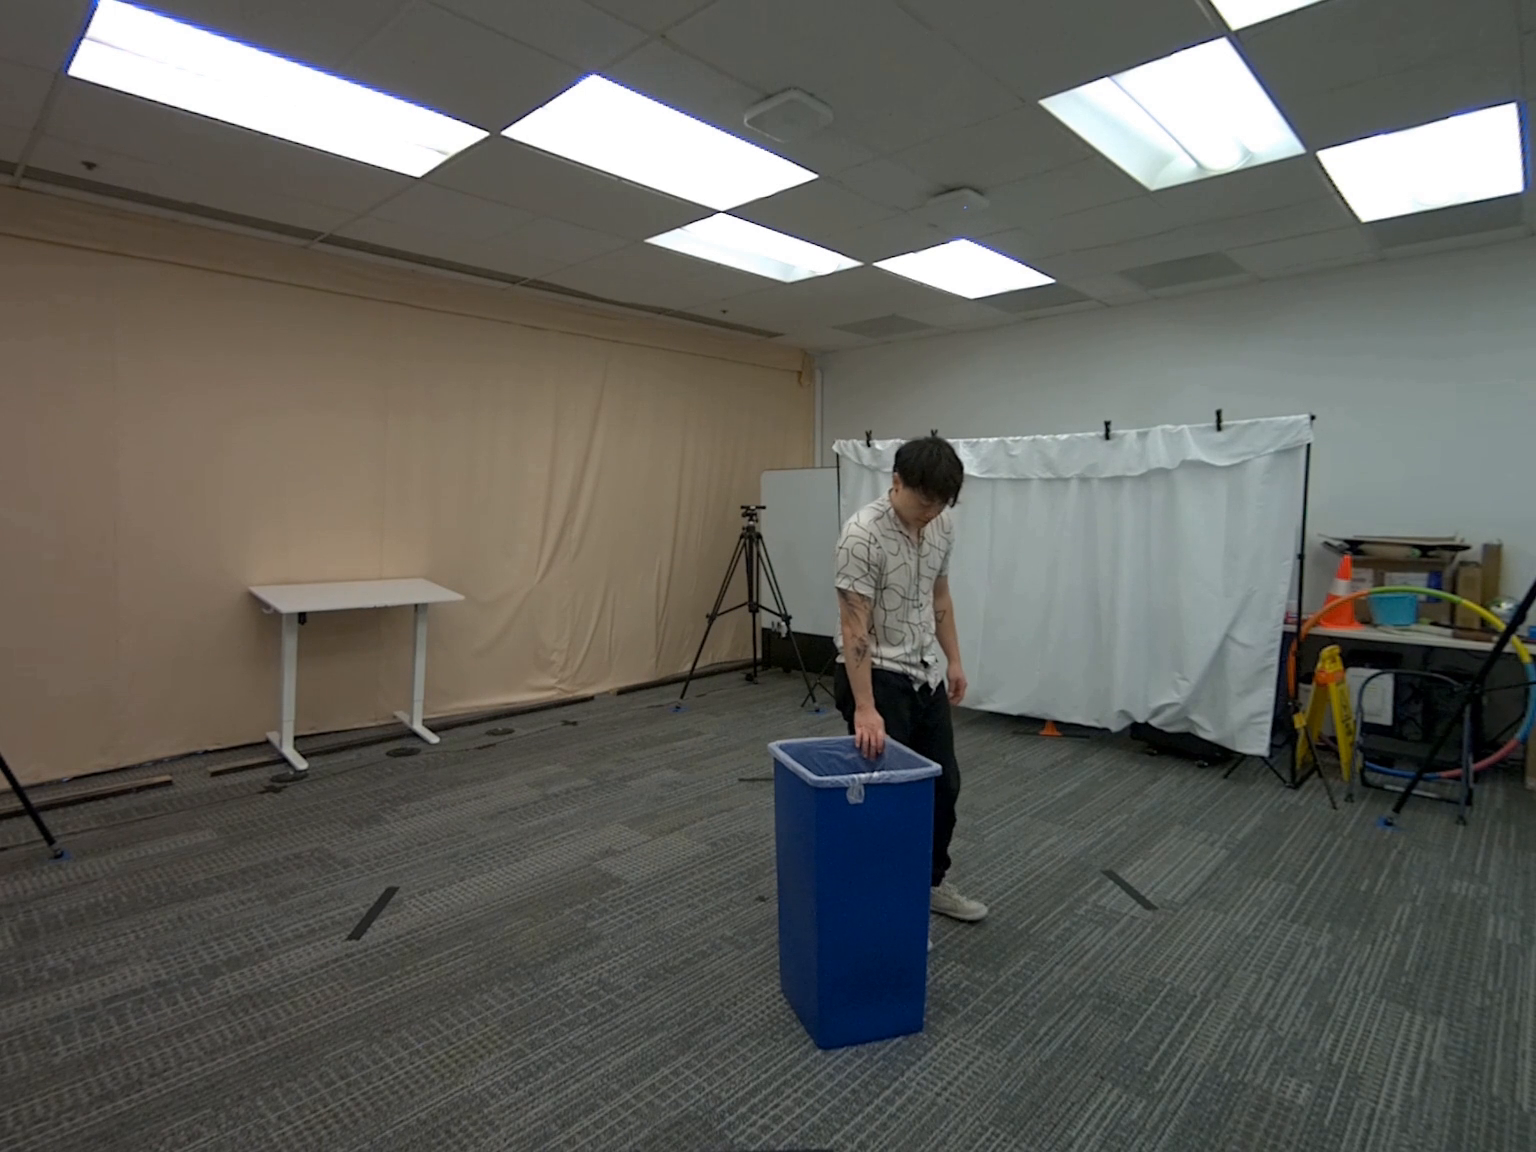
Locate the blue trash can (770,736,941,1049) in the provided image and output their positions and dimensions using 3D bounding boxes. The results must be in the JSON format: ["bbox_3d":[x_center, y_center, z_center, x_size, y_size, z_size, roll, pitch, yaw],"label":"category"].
[{"bbox_3d":[0.222,0.843,2.318,0.371,0.712,0.382,0,3,-19],"label":"blue trash can"}]
